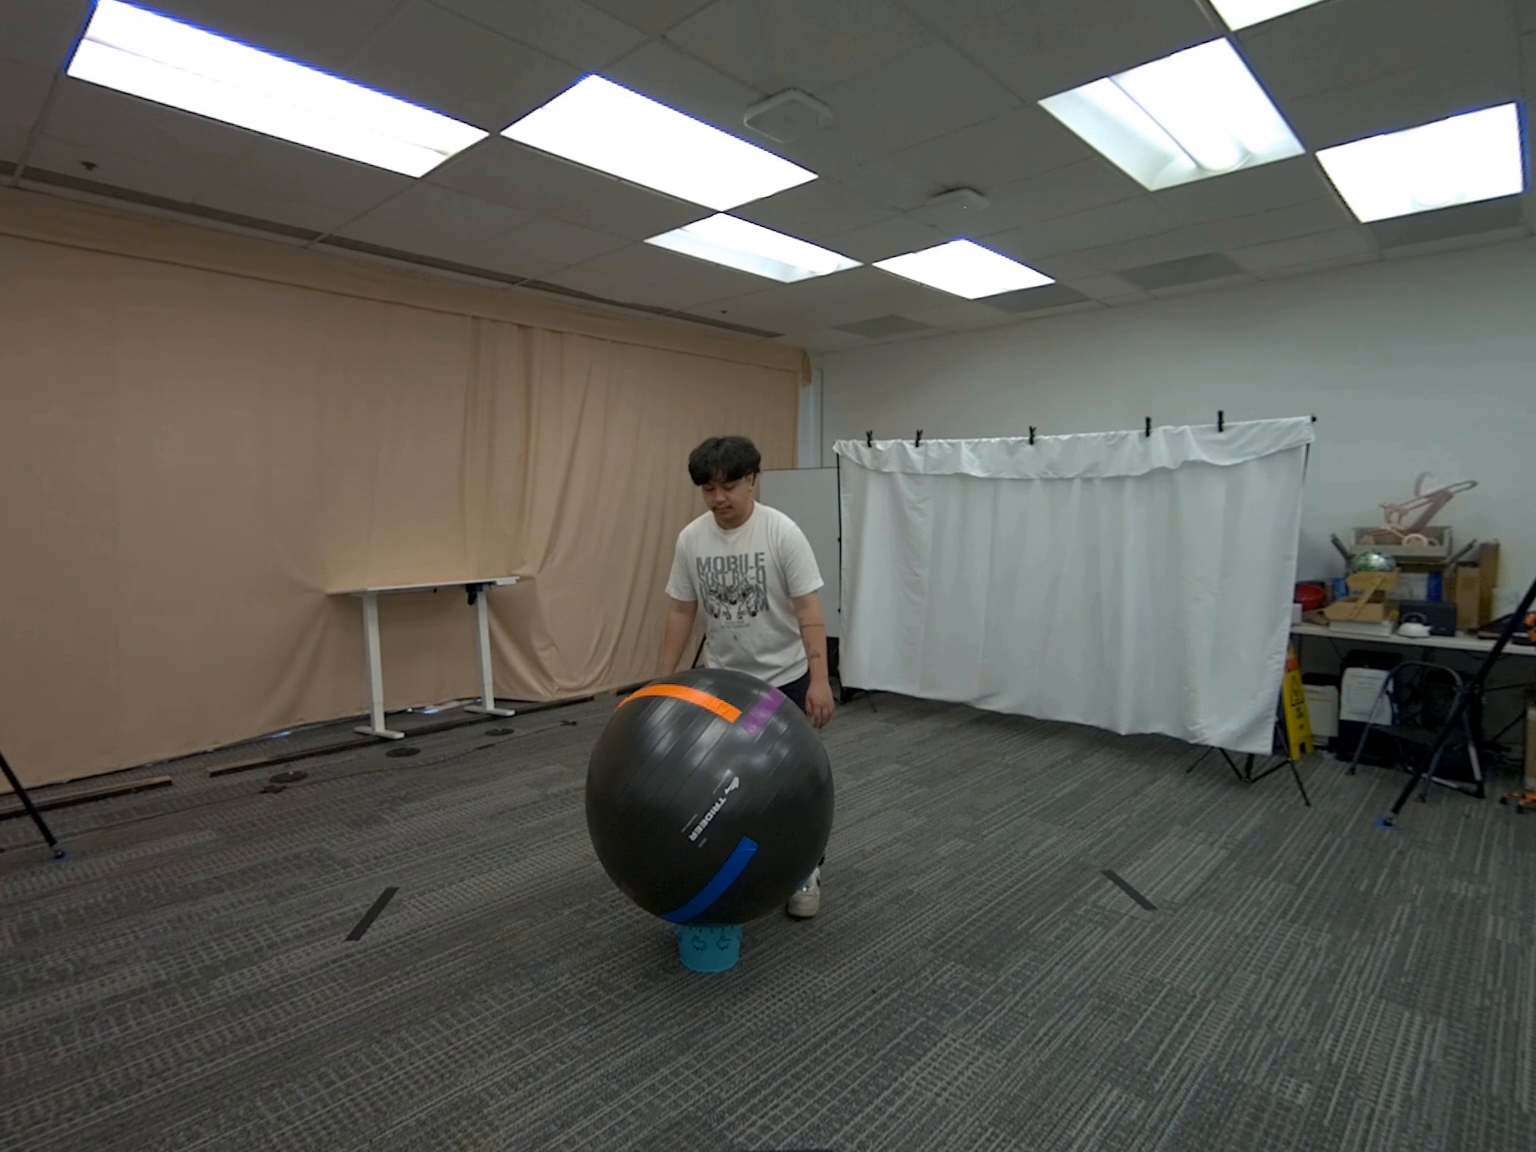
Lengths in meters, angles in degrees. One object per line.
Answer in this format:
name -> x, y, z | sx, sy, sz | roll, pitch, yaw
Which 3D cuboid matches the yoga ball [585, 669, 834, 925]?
yoga ball -> -0.179, 0.665, 2.577 | 0.757, 0.756, 0.760 | 0, 4, -2
